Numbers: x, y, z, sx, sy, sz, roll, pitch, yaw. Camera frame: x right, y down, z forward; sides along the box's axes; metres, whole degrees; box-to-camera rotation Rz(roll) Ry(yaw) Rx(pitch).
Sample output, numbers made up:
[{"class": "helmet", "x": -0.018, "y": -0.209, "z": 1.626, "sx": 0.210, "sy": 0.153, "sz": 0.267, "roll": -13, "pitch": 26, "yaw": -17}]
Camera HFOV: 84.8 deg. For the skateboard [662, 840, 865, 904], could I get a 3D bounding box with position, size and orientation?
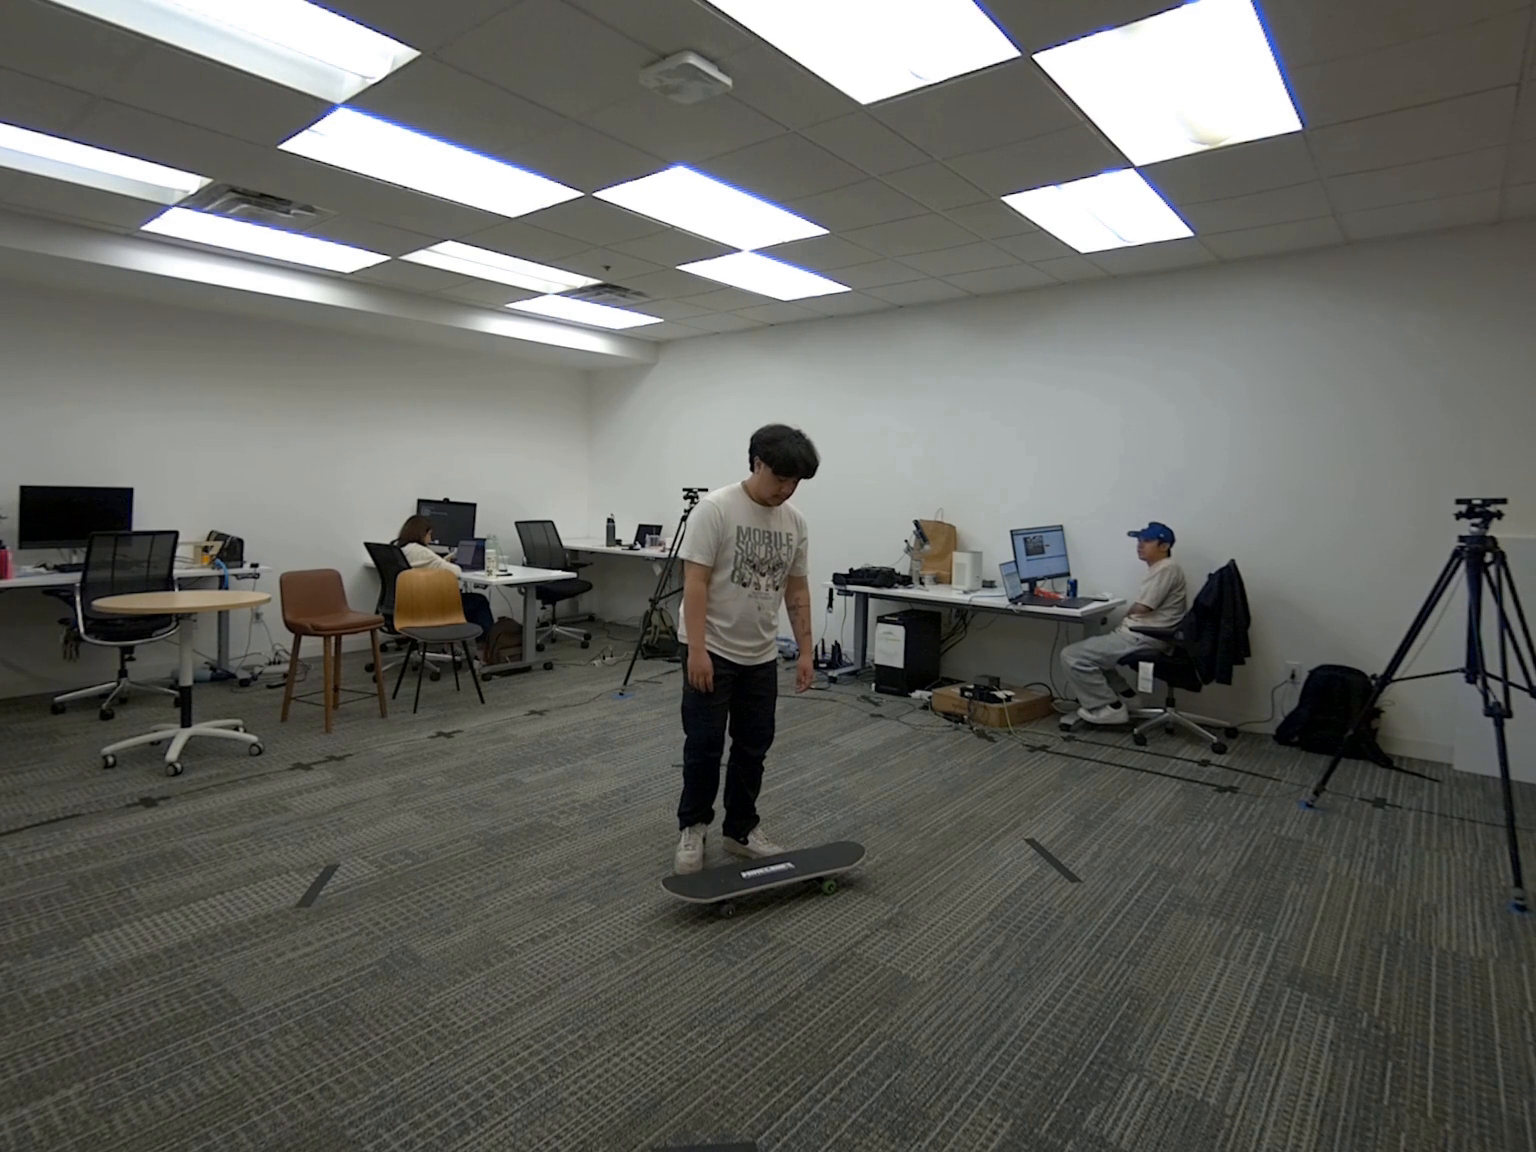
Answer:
[{"class": "skateboard", "x": -0.009, "y": 1.035, "z": 2.915, "sx": 0.765, "sy": 0.110, "sz": 0.199, "roll": -2, "pitch": 6, "yaw": -28}]
